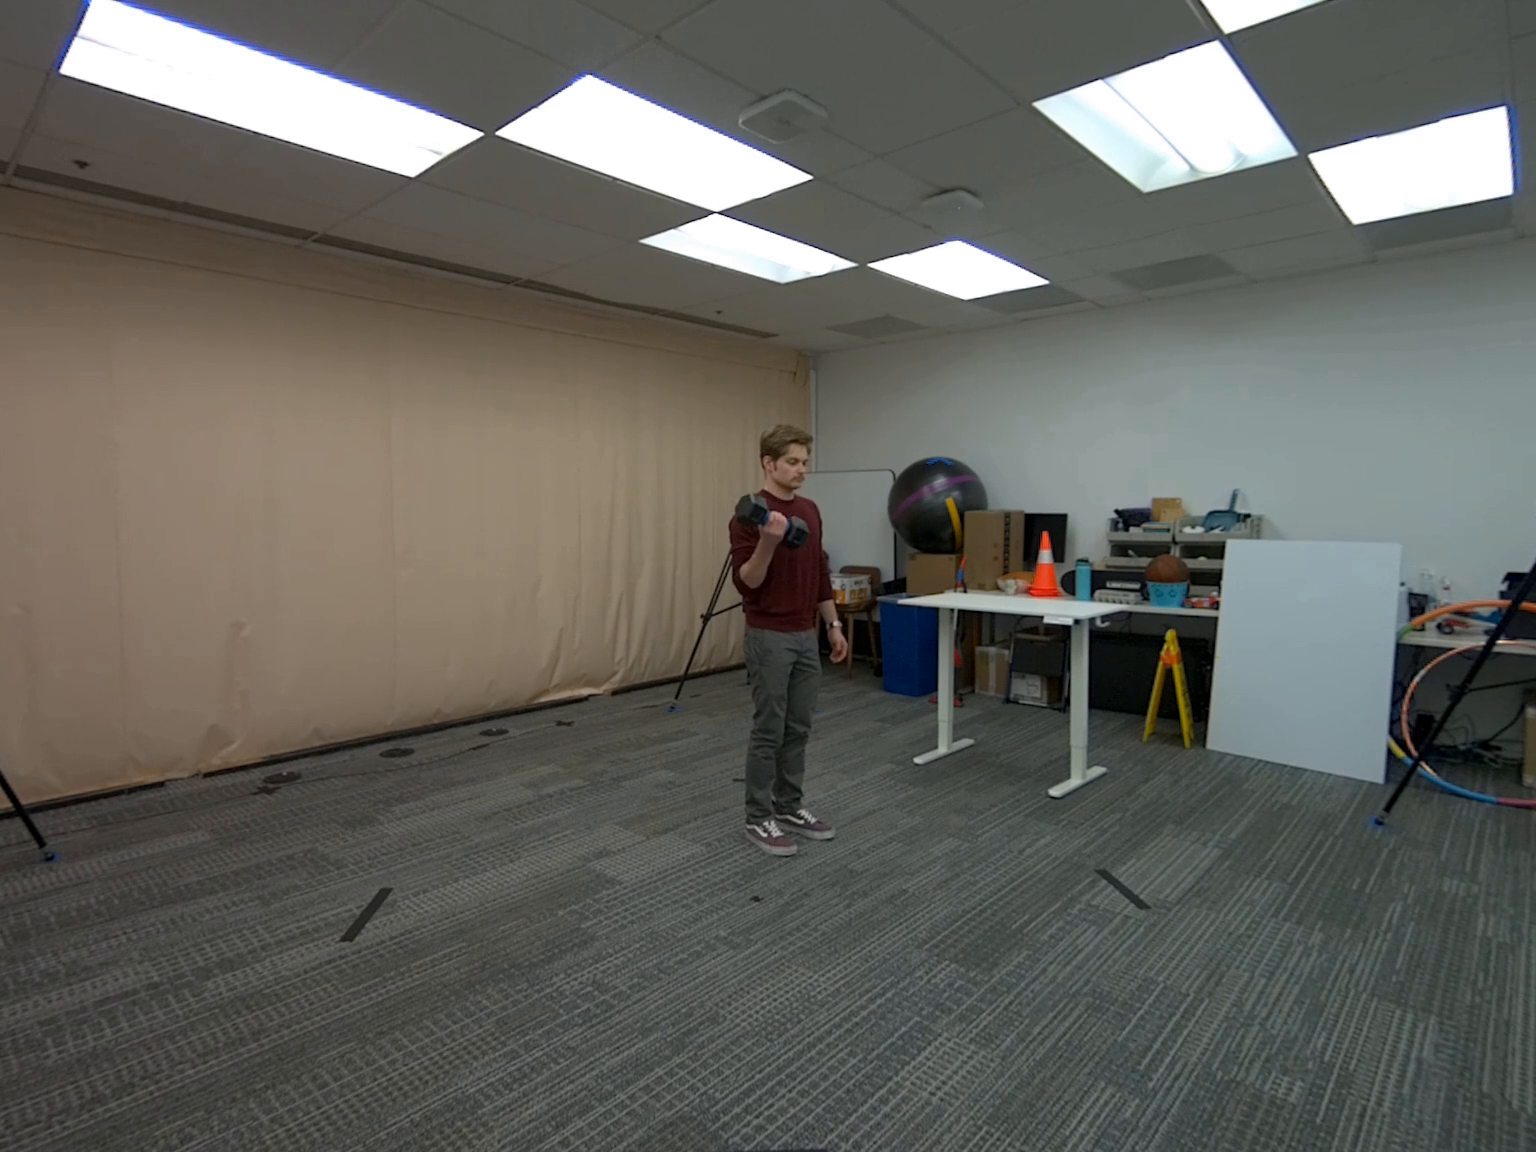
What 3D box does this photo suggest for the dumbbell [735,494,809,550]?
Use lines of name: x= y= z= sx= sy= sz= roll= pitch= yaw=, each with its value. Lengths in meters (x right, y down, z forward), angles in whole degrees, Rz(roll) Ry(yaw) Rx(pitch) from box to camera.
dumbbell: x=0.020 y=-0.185 z=3.159 sx=0.284 sy=0.123 sz=0.112 roll=28 pitch=6 yaw=-31
